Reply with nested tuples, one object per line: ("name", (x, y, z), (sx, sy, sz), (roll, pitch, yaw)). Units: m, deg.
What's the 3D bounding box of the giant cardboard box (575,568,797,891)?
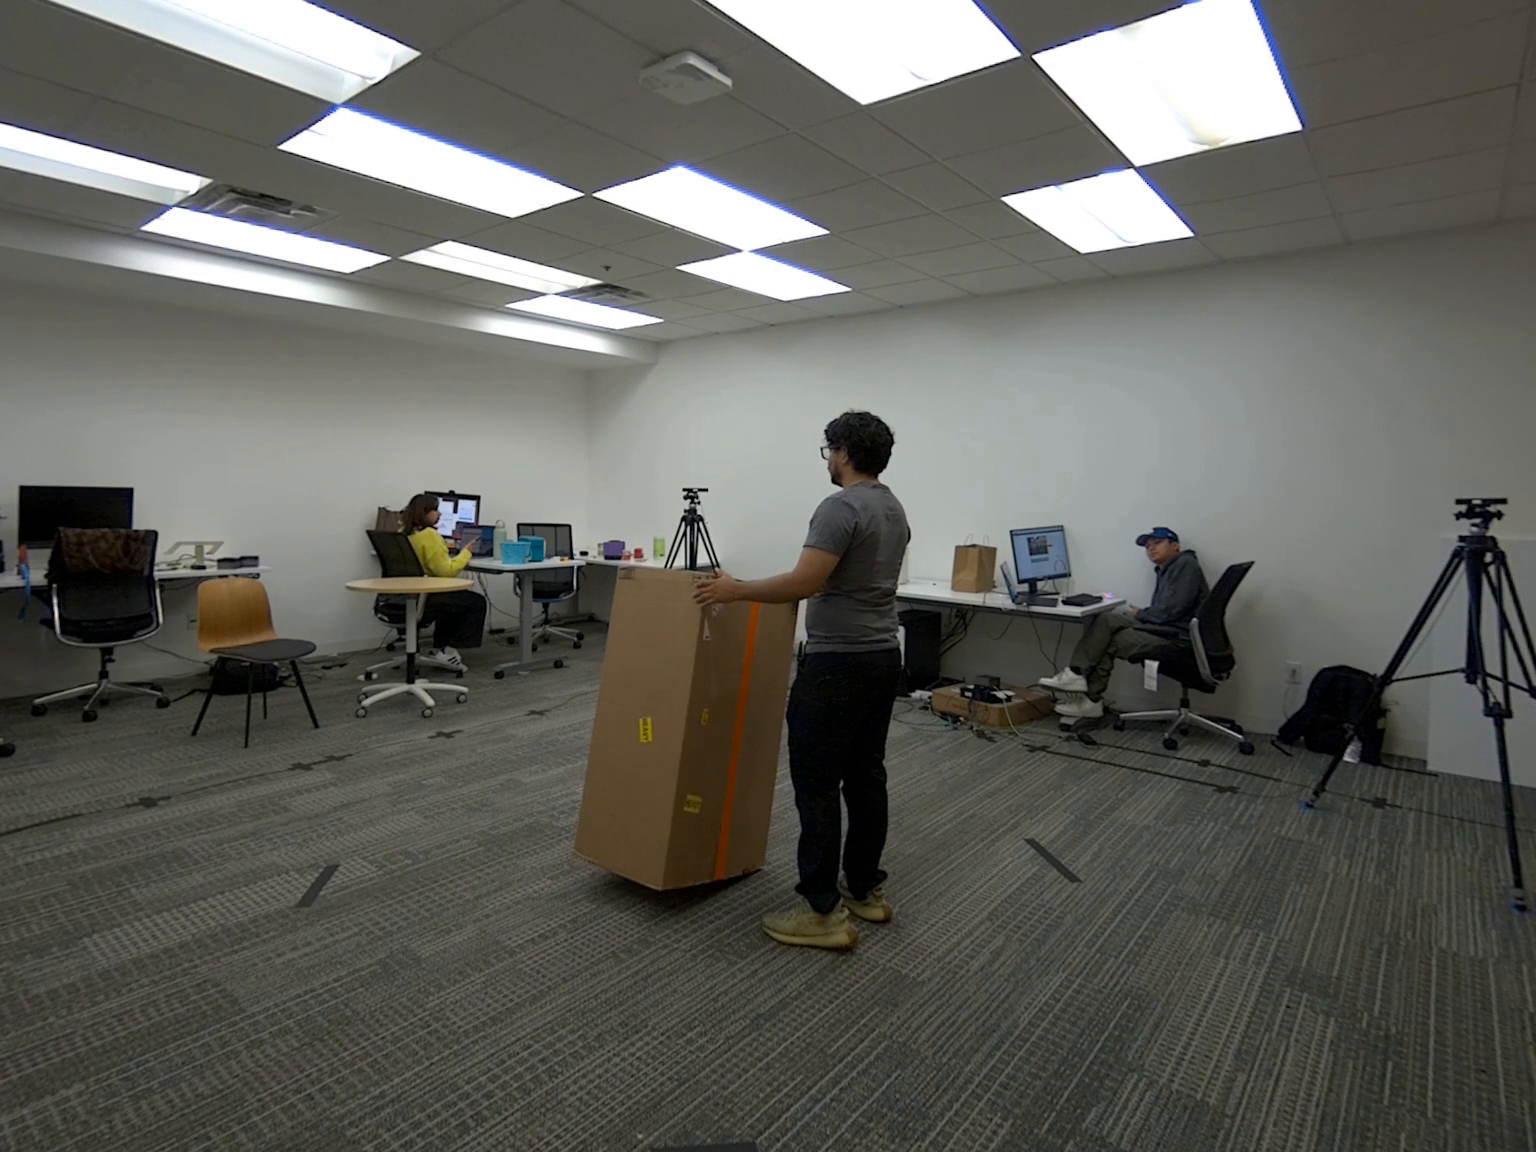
("giant cardboard box", (-0.287, 0.518, 3.099), (0.440, 1.031, 0.556), (3, -7, 37))
